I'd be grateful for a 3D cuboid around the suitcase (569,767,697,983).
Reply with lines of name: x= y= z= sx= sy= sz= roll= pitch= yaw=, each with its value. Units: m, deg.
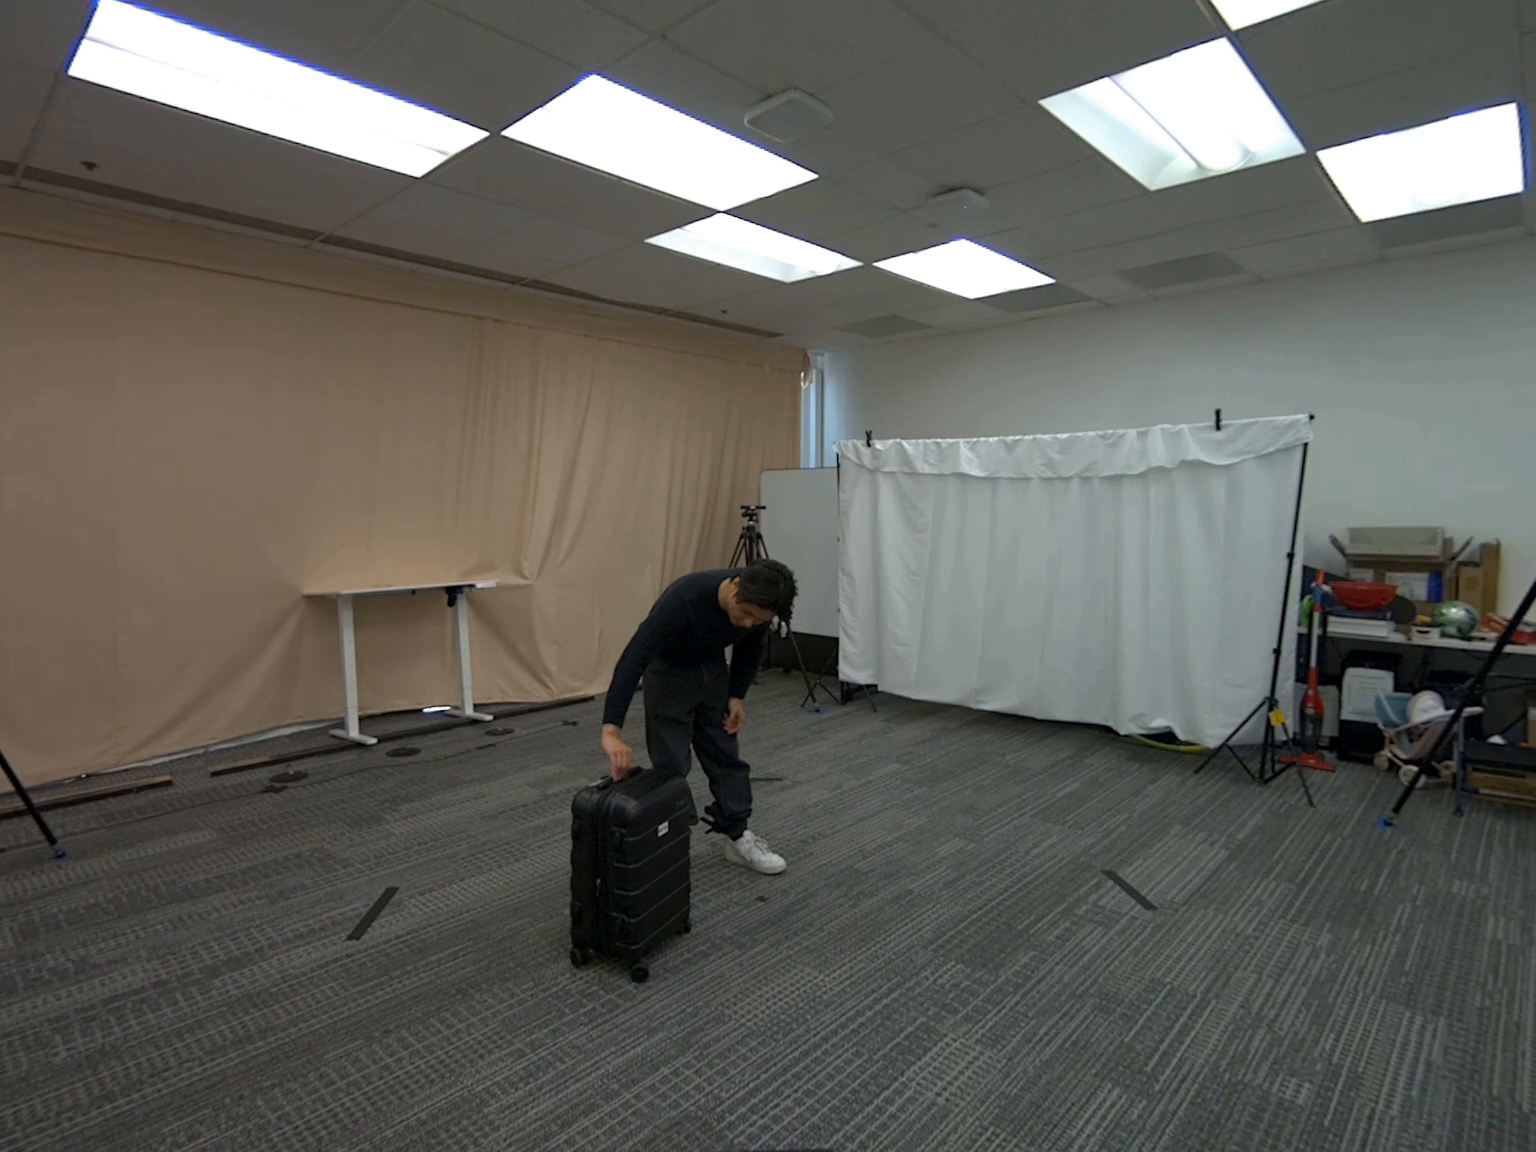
suitcase: x=-0.429 y=0.898 z=2.643 sx=0.255 sy=0.548 sz=0.366 roll=2 pitch=3 yaw=26
